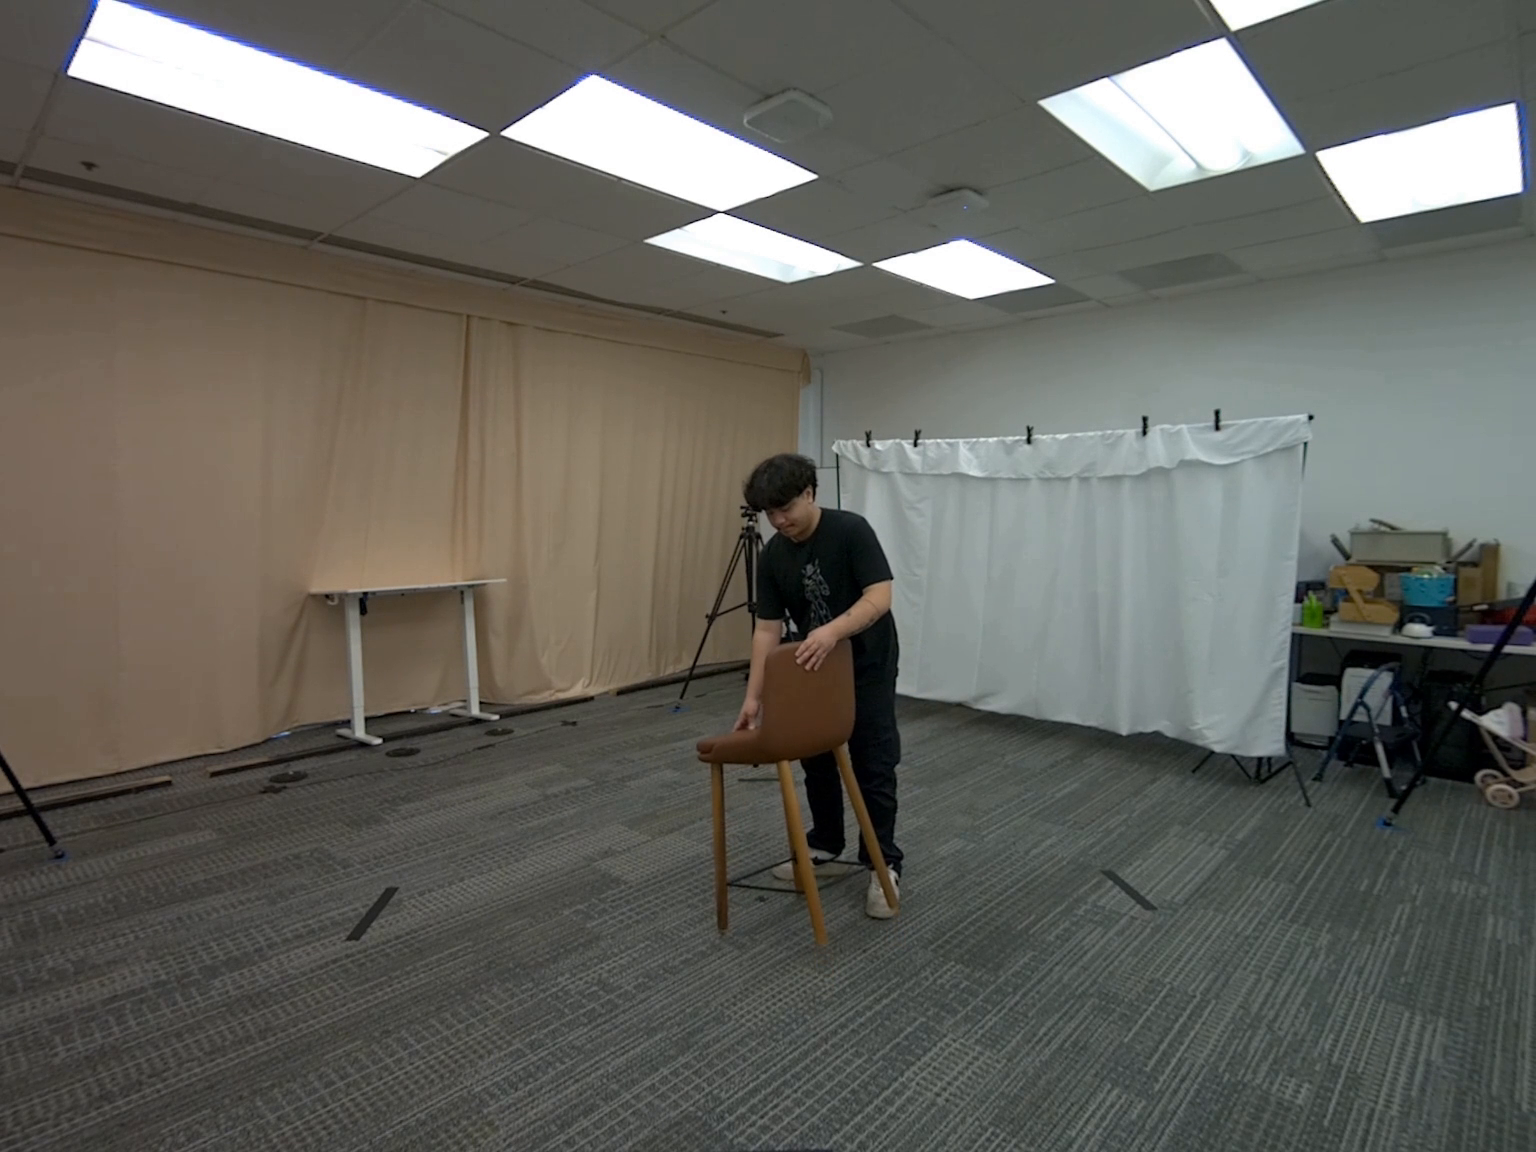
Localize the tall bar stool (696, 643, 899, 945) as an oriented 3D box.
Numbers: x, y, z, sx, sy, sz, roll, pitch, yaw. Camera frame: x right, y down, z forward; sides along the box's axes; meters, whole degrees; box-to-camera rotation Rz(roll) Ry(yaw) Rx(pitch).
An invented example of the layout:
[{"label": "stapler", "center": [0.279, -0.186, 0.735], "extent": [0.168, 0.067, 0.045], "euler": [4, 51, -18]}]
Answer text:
[{"label": "tall bar stool", "center": [0.068, 0.681, 2.773], "extent": [0.442, 0.894, 0.480], "euler": [-2, -9, -44]}]
